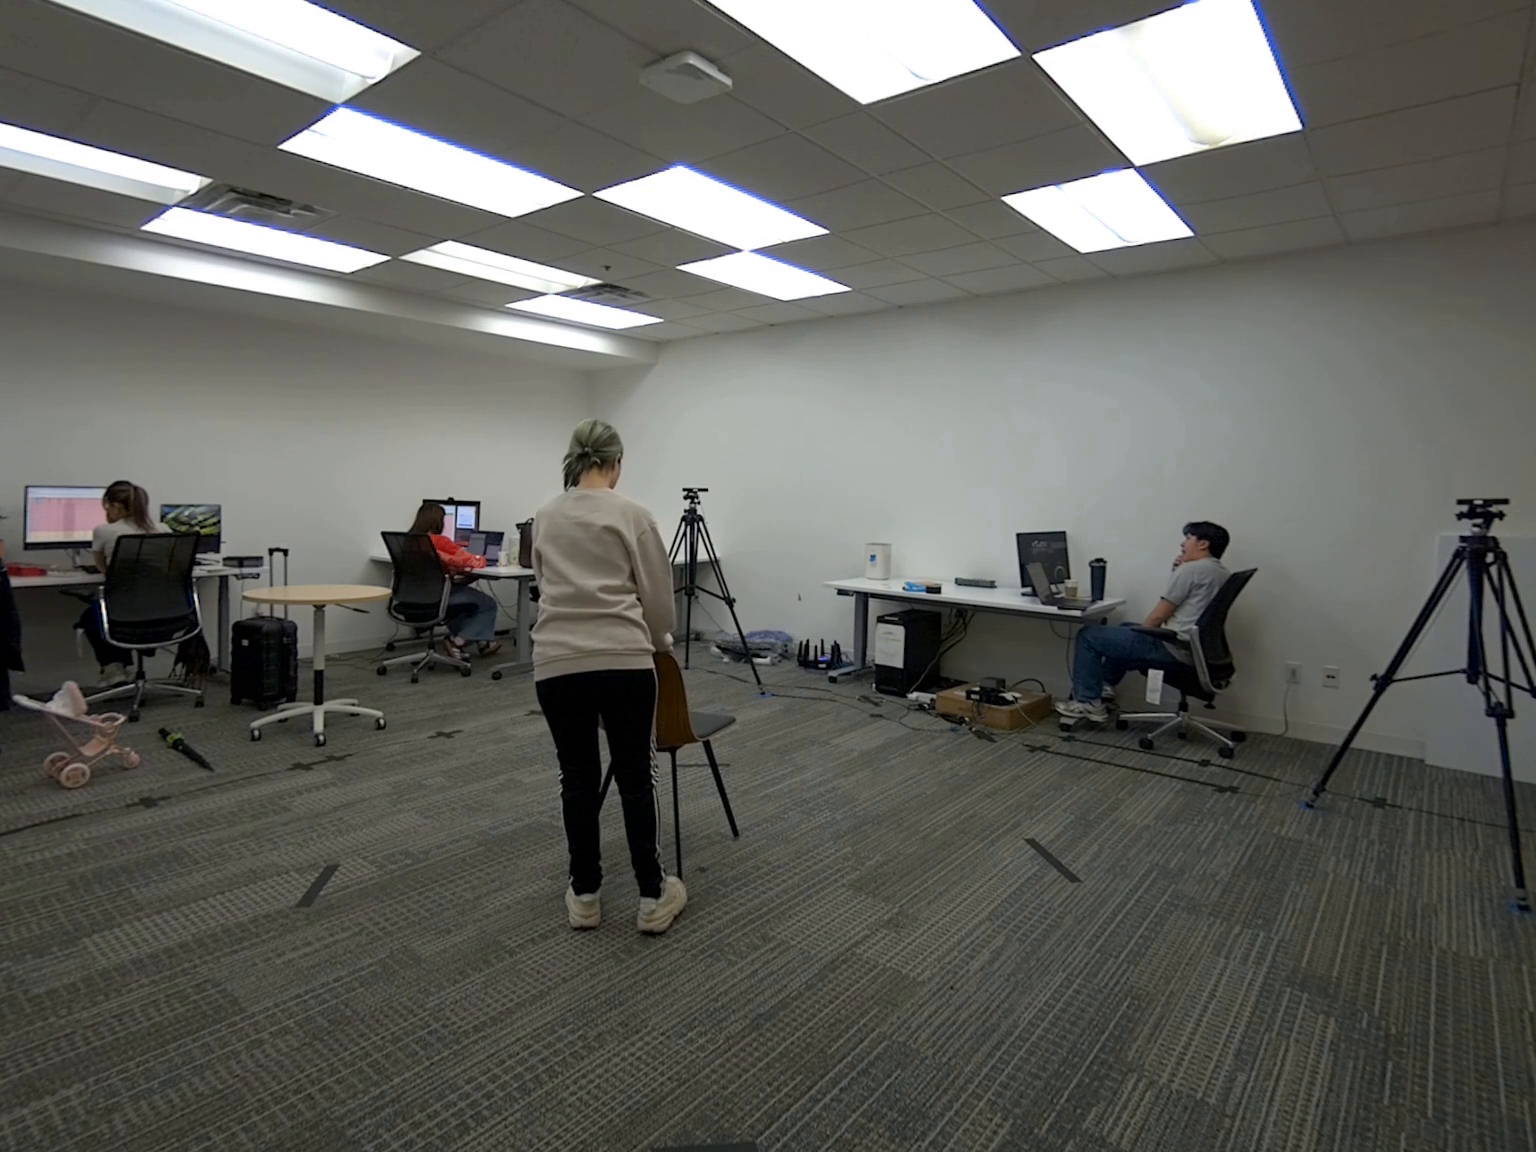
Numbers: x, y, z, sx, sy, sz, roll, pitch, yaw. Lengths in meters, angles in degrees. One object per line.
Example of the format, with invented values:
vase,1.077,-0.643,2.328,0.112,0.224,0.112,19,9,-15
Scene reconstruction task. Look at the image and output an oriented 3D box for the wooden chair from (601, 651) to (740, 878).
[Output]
wooden chair,-0.417,0.612,3.272,0.491,0.870,0.513,3,9,27
